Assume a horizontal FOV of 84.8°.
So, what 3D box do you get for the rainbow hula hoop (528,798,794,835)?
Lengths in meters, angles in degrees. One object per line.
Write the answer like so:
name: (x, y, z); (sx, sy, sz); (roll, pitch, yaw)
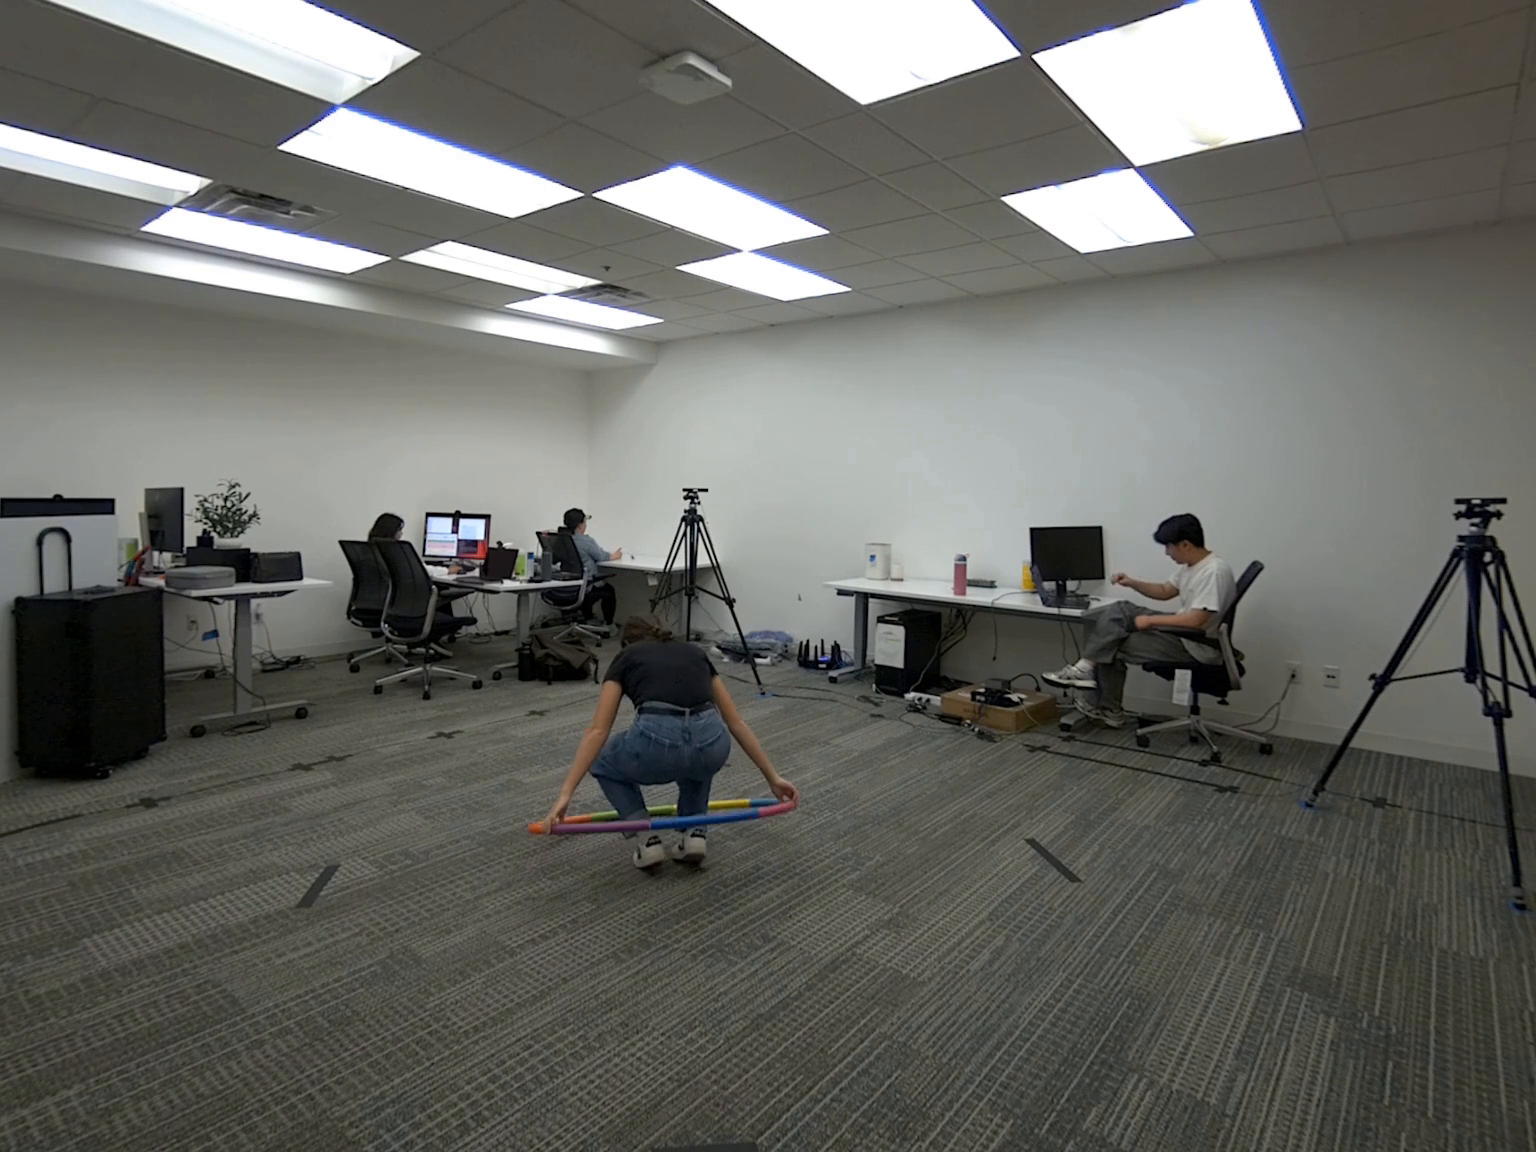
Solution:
rainbow hula hoop: (-0.400, 0.881, 3.186); (0.977, 0.036, 0.967); (-4, -12, -3)
